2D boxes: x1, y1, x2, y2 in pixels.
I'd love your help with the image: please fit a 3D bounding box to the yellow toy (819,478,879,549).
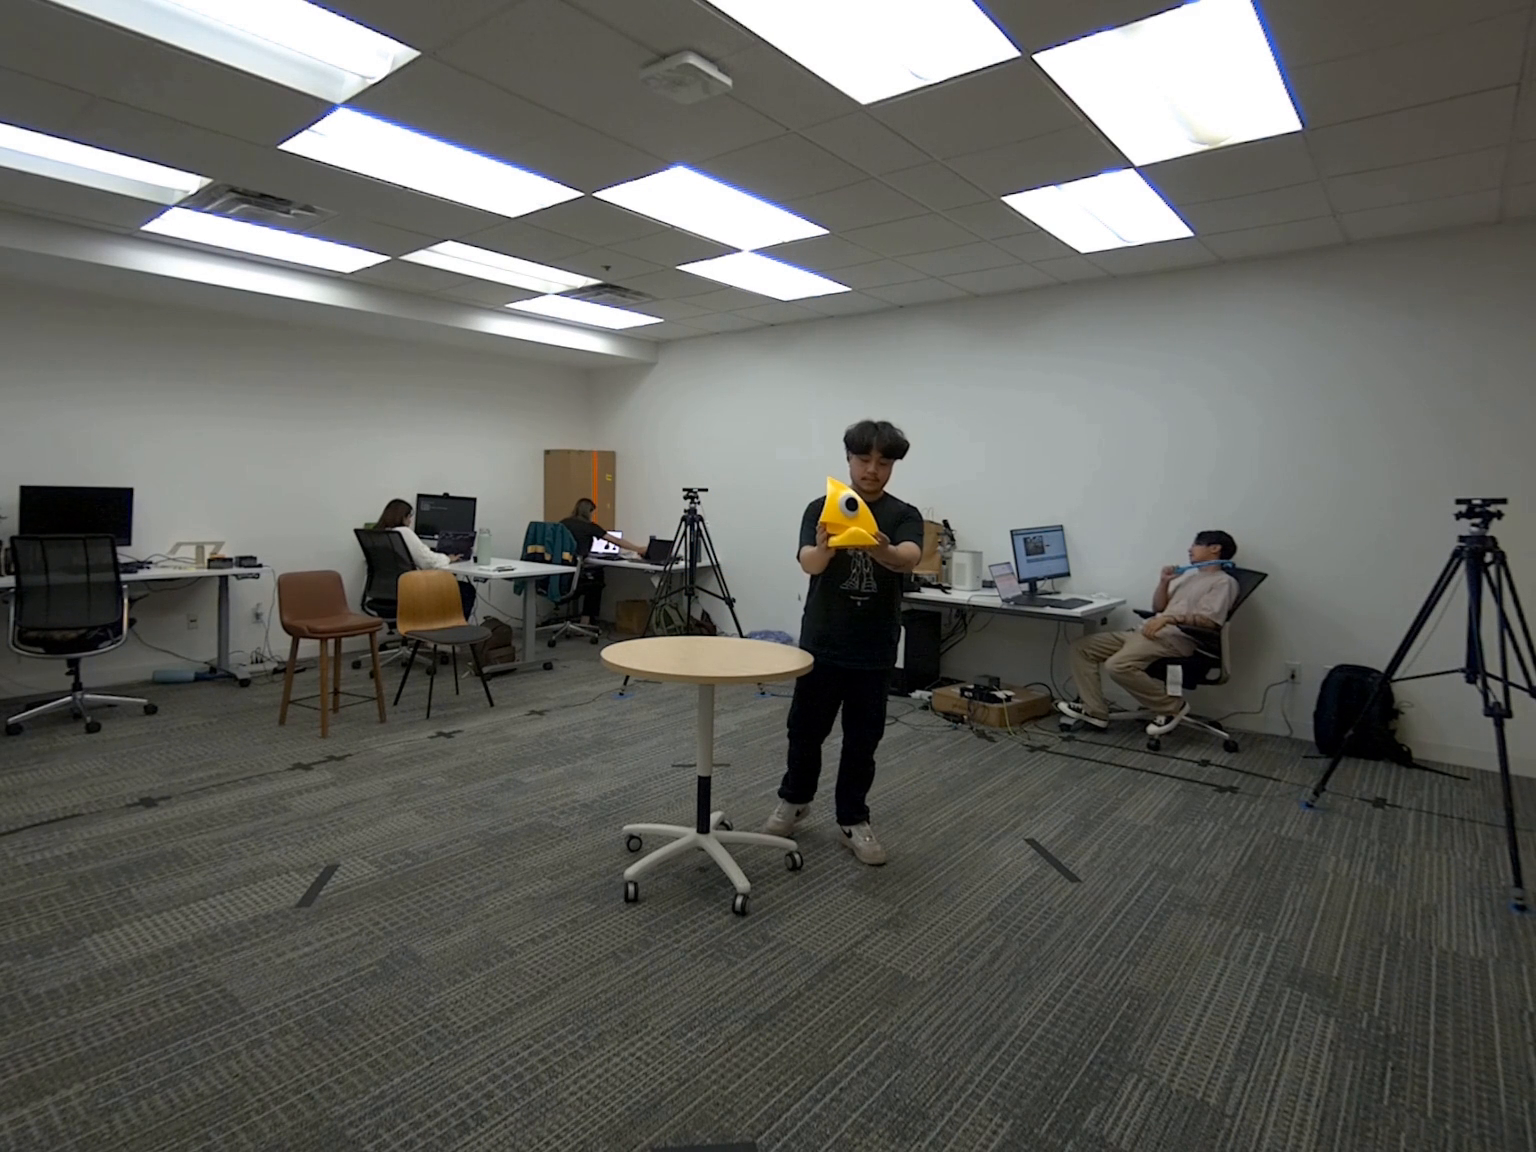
[{"bbox_3d":[0.244,-0.216,2.757,0.194,0.231,0.203,-4,-2,6],"label":"yellow toy"}]
